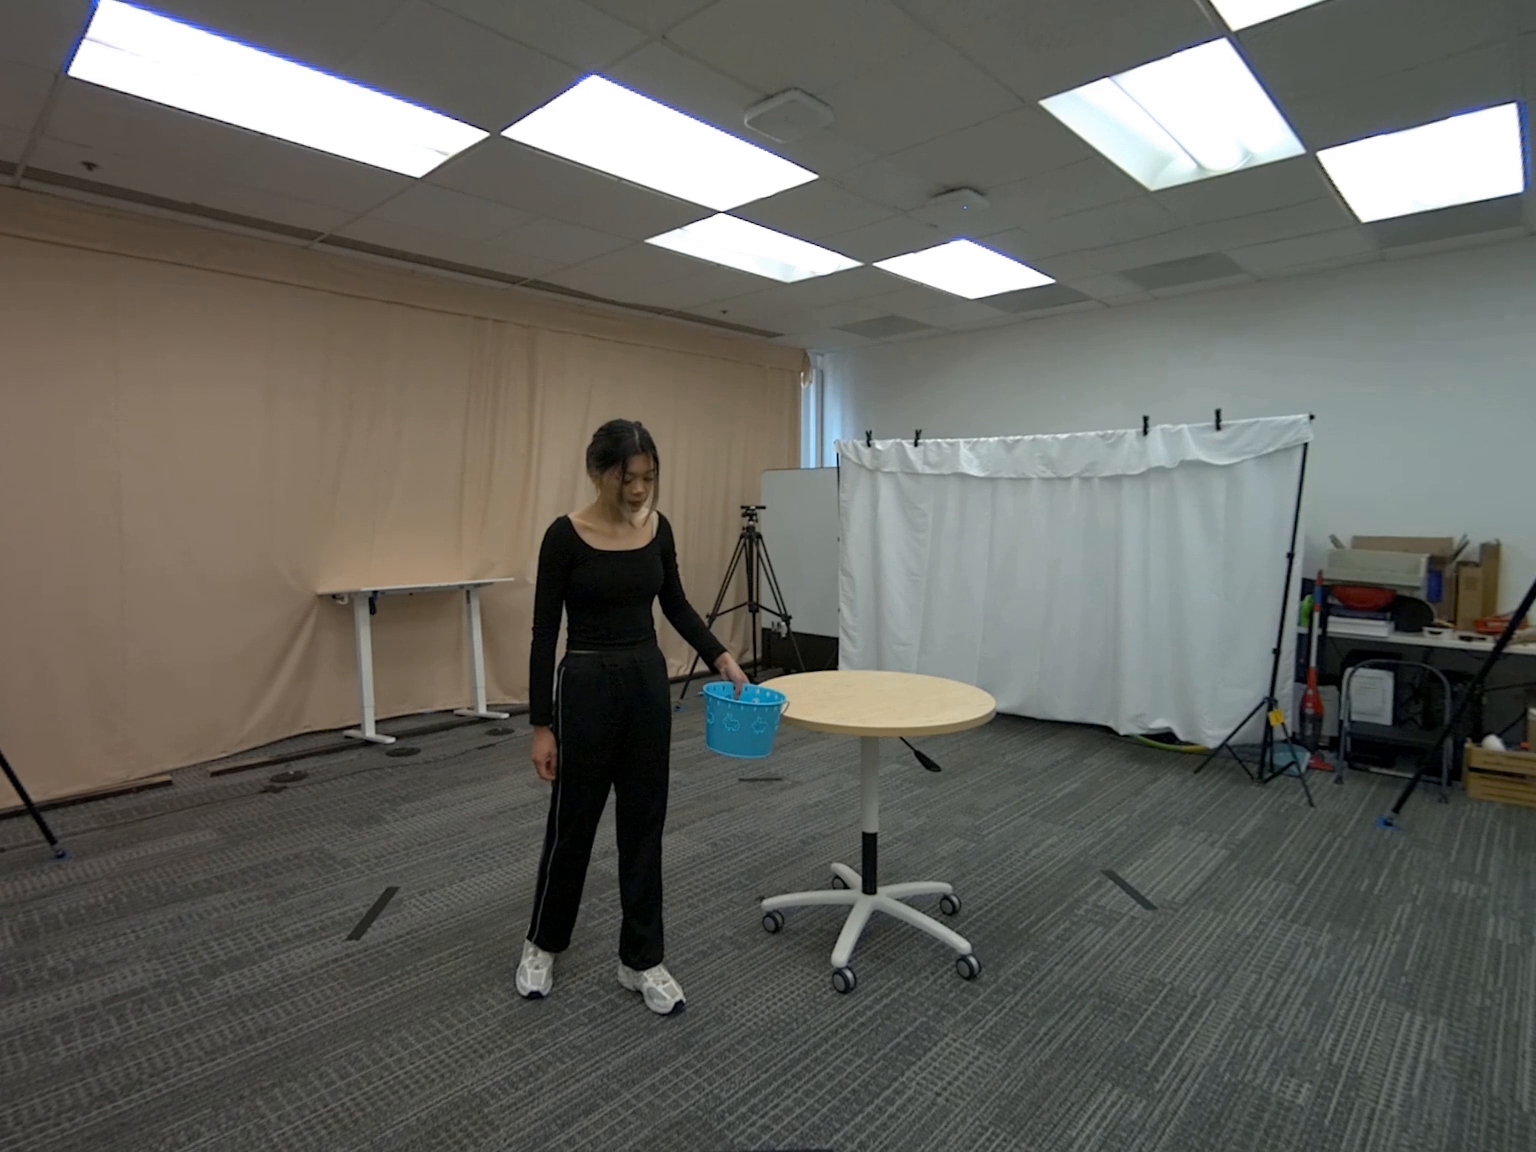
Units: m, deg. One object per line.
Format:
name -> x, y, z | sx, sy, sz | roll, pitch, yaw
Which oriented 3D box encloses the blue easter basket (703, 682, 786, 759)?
blue easter basket -> -0.065, 0.386, 2.271 | 0.243, 0.155, 0.244 | 6, 4, -2
